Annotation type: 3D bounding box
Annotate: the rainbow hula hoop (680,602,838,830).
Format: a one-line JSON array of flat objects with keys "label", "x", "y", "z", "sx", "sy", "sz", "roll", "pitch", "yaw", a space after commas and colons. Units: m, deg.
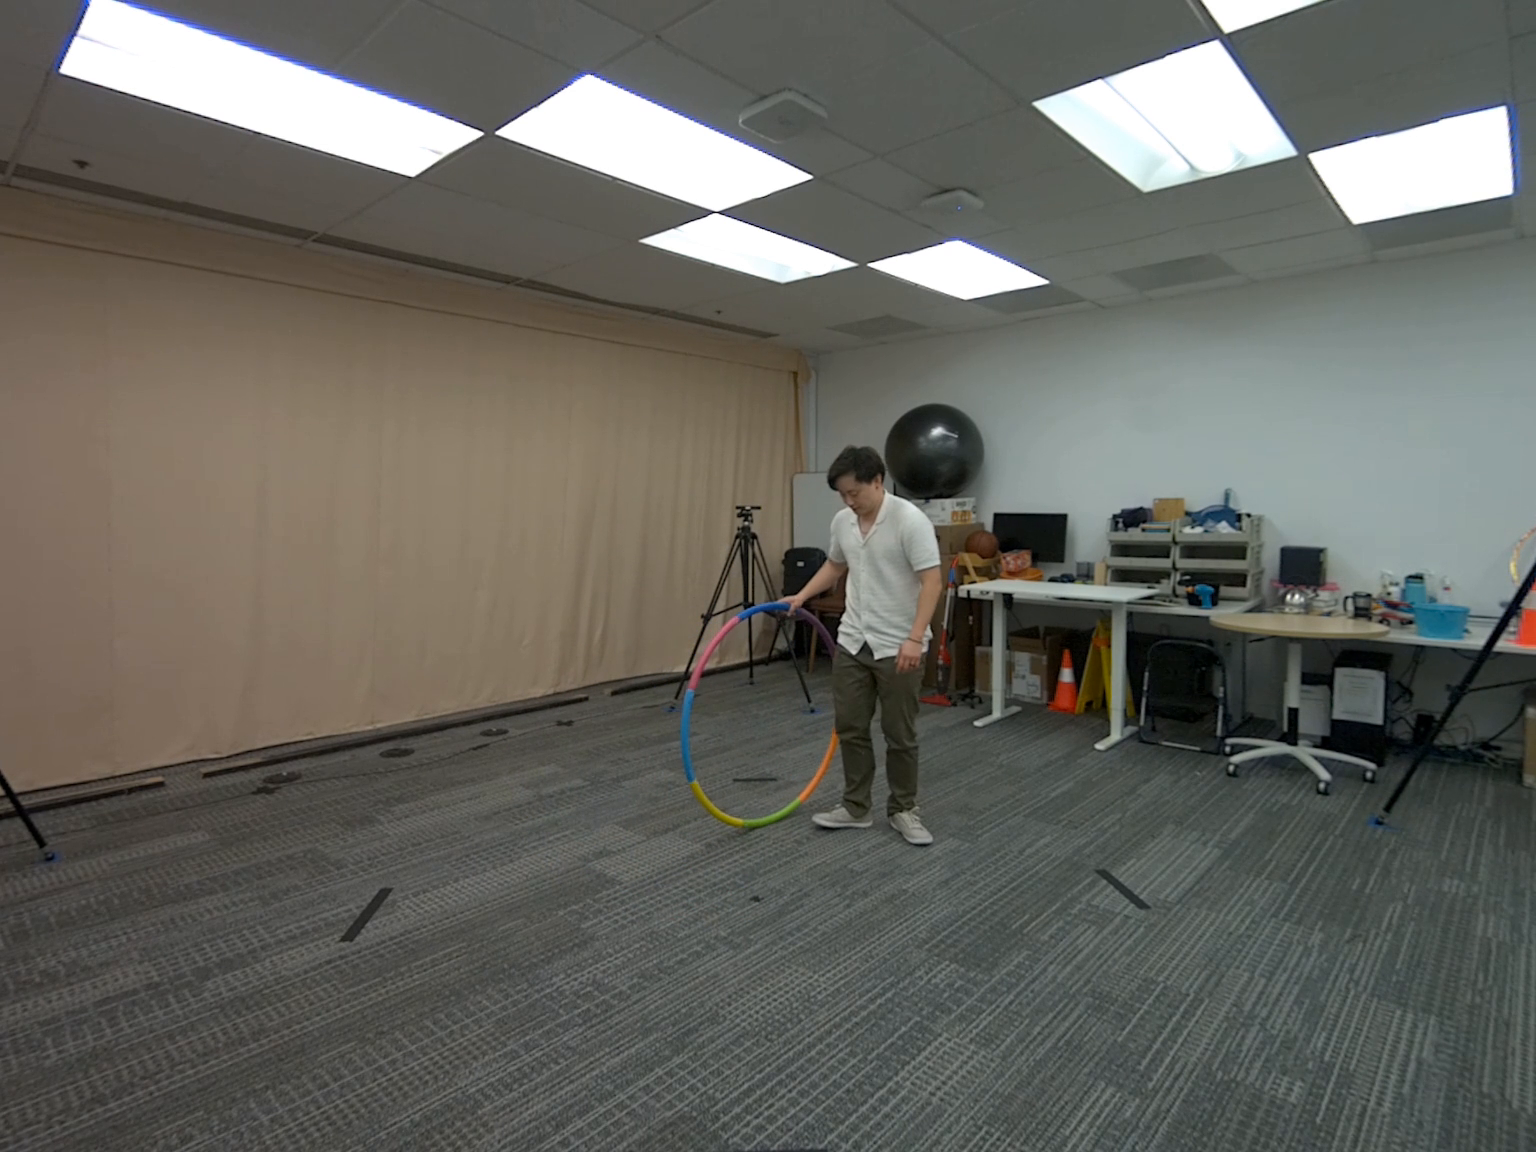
[{"label": "rainbow hula hoop", "x": 0.005, "y": 0.603, "z": 3.658, "sx": 0.948, "sy": 0.976, "sz": 0.037, "roll": -4, "pitch": 5, "yaw": -44}]
